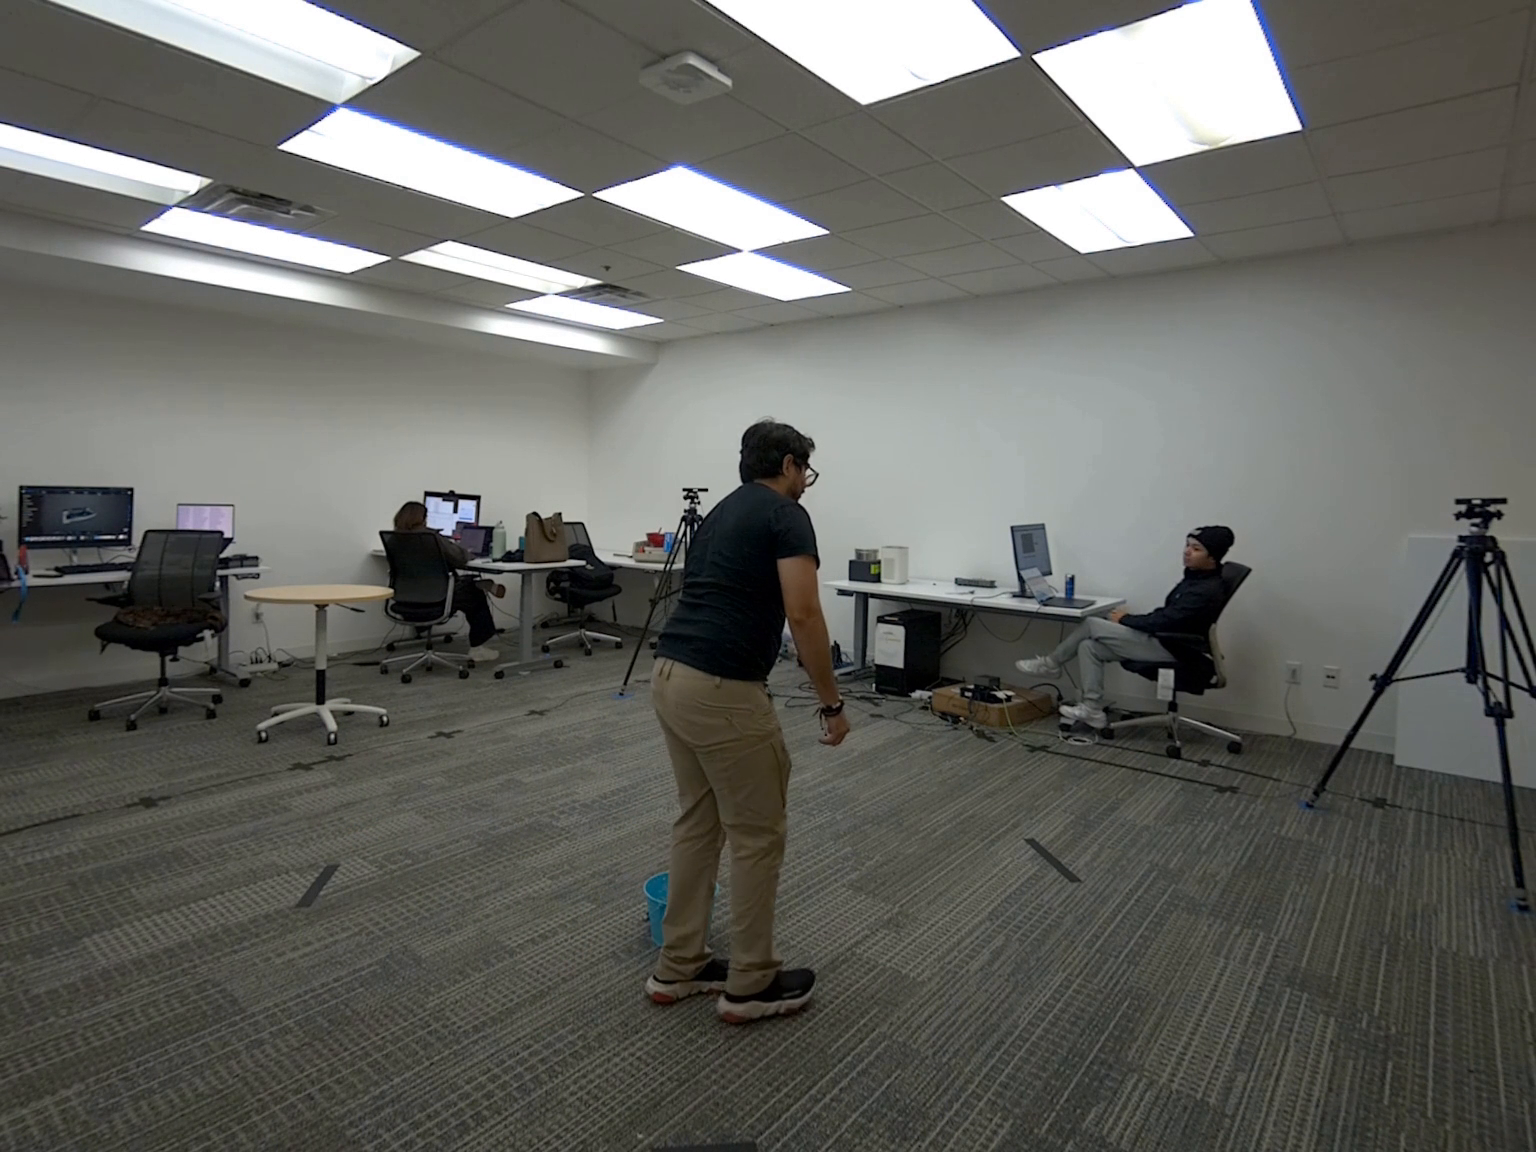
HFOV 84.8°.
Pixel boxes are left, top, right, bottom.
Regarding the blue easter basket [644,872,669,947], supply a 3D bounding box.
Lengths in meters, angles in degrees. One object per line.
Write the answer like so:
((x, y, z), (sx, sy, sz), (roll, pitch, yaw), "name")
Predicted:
((-0.277, 1.037, 2.645), (0.243, 0.155, 0.245), (1, 4, -2), "blue easter basket")
